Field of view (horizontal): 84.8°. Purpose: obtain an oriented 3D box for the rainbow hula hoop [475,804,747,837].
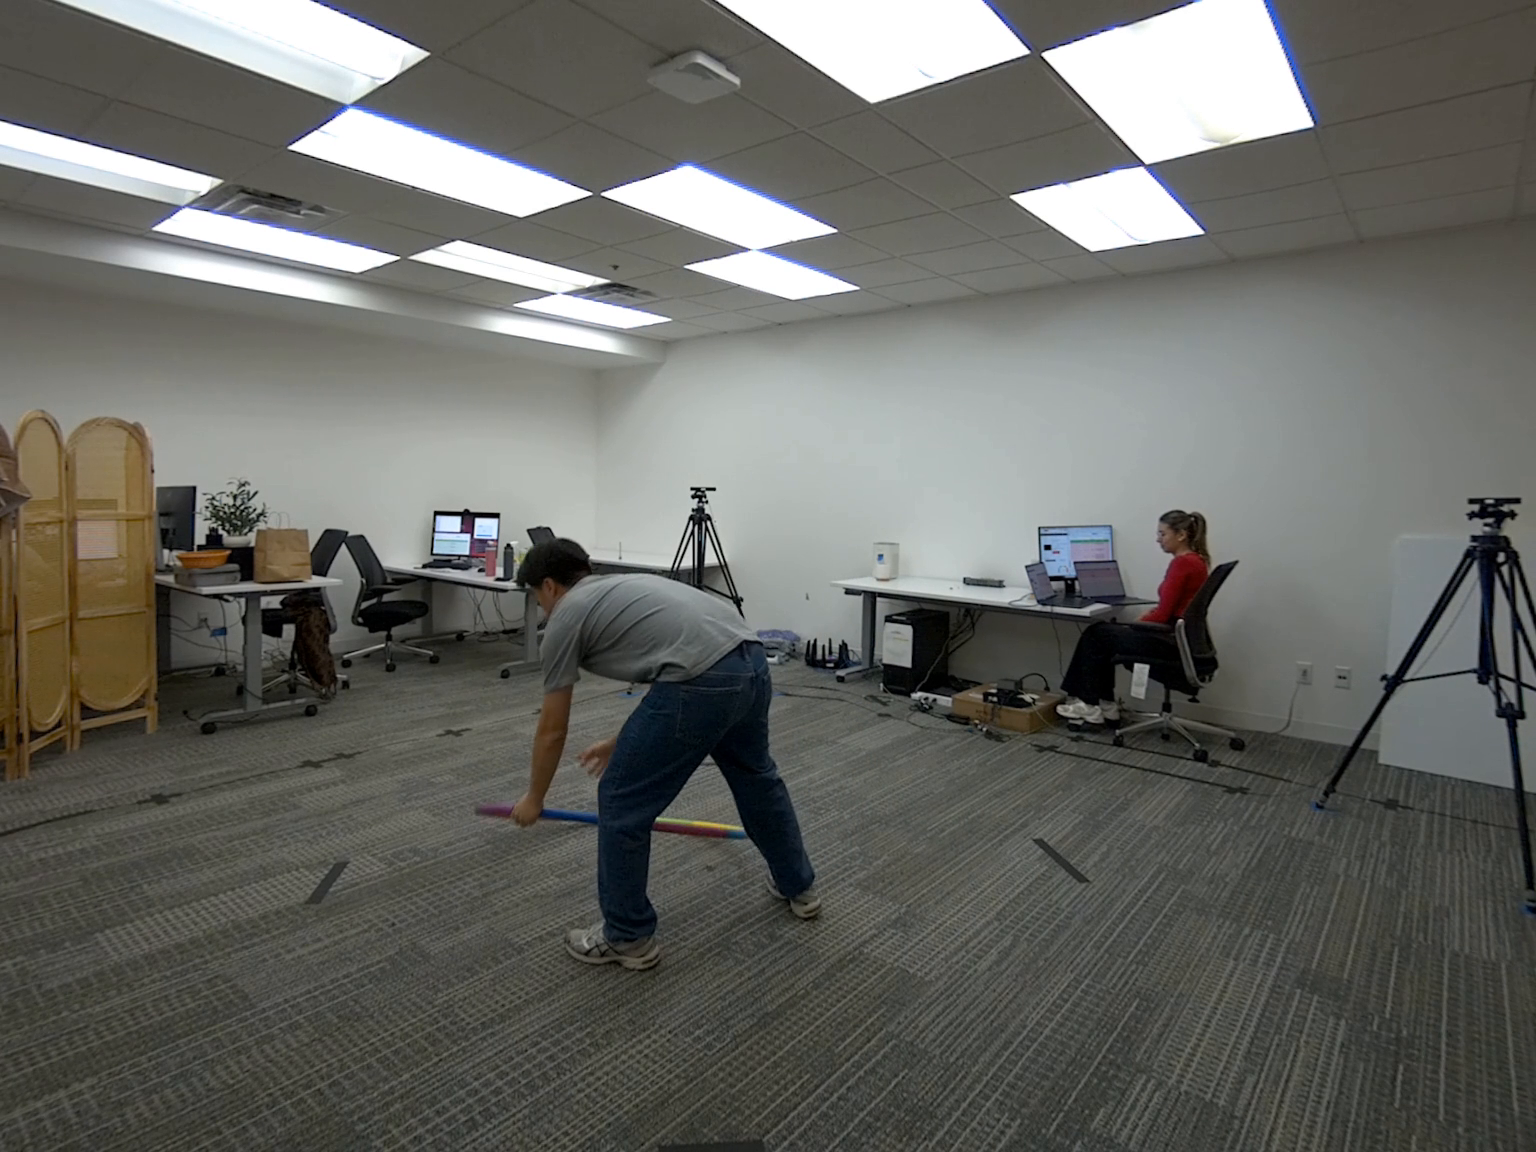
[{"bbox_3d":[-0.560,0.860,3.076,0.979,0.036,0.964,5,-16,0],"label":"rainbow hula hoop"}]
